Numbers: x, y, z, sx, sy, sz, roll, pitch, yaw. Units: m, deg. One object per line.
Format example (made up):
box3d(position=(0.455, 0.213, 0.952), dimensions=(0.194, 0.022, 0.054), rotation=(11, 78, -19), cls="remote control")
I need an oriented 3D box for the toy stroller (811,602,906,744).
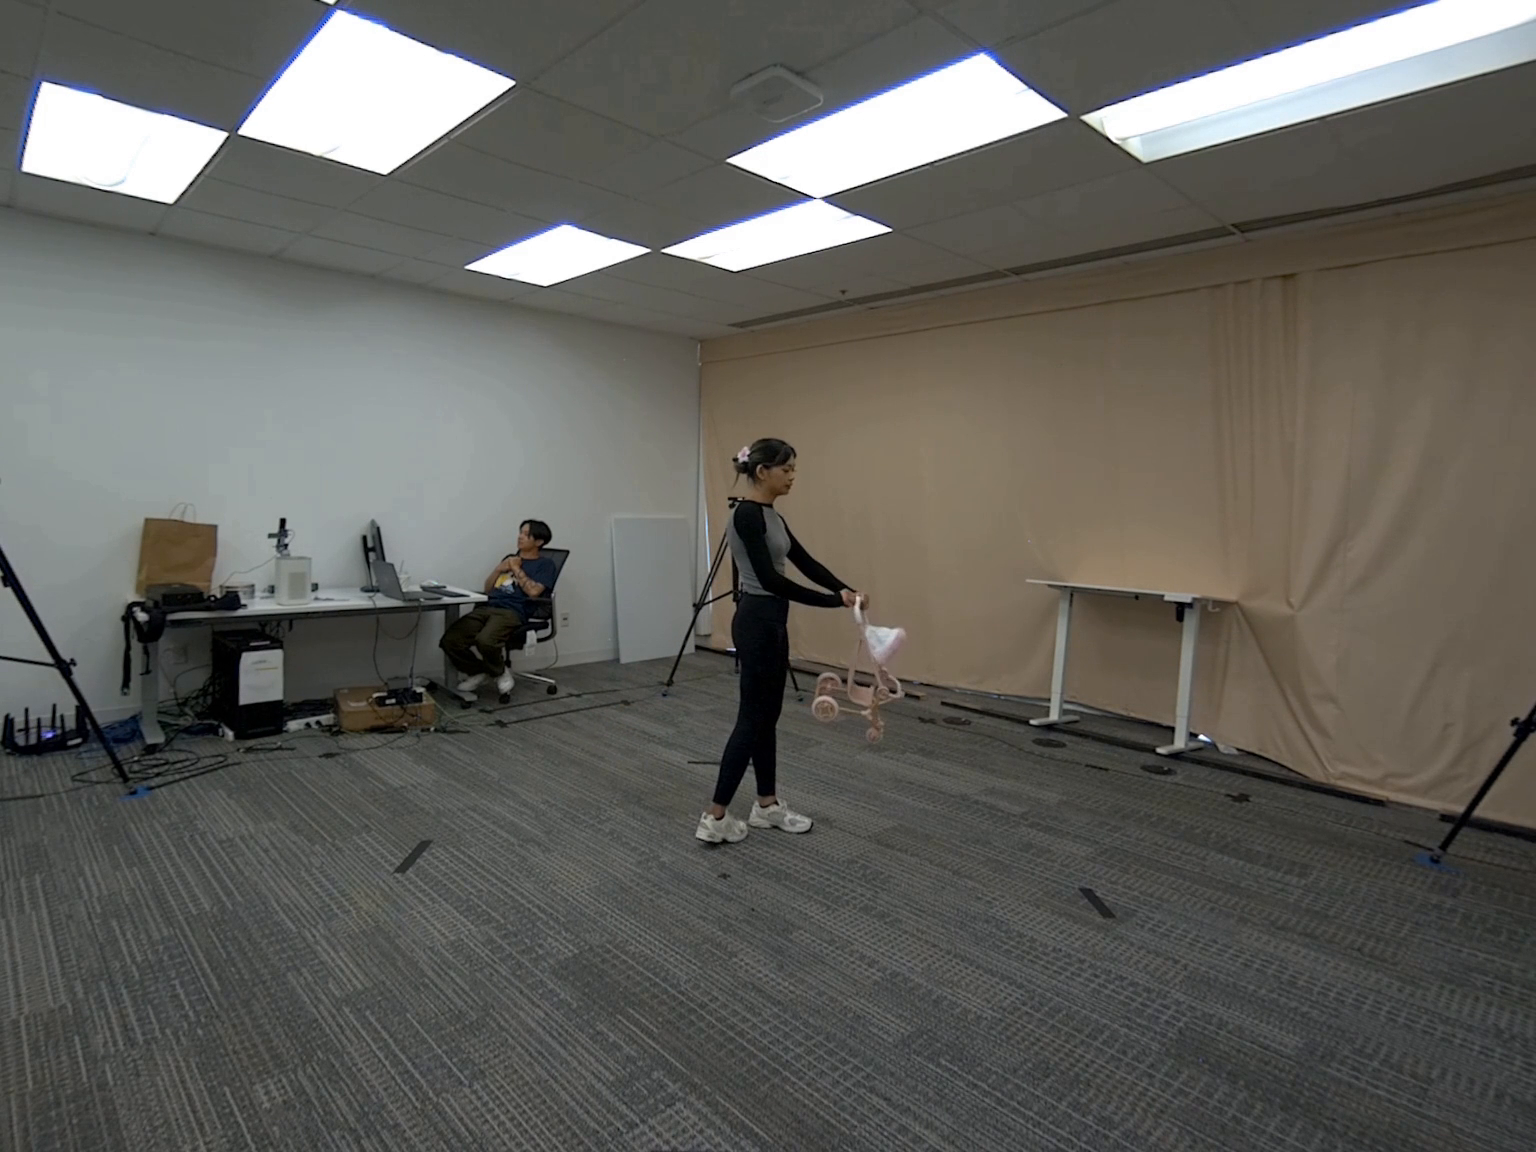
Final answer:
box3d(position=(0.399, 0.401, 3.404), dimensions=(0.344, 0.531, 0.281), rotation=(24, 16, 8), cls="toy stroller")
